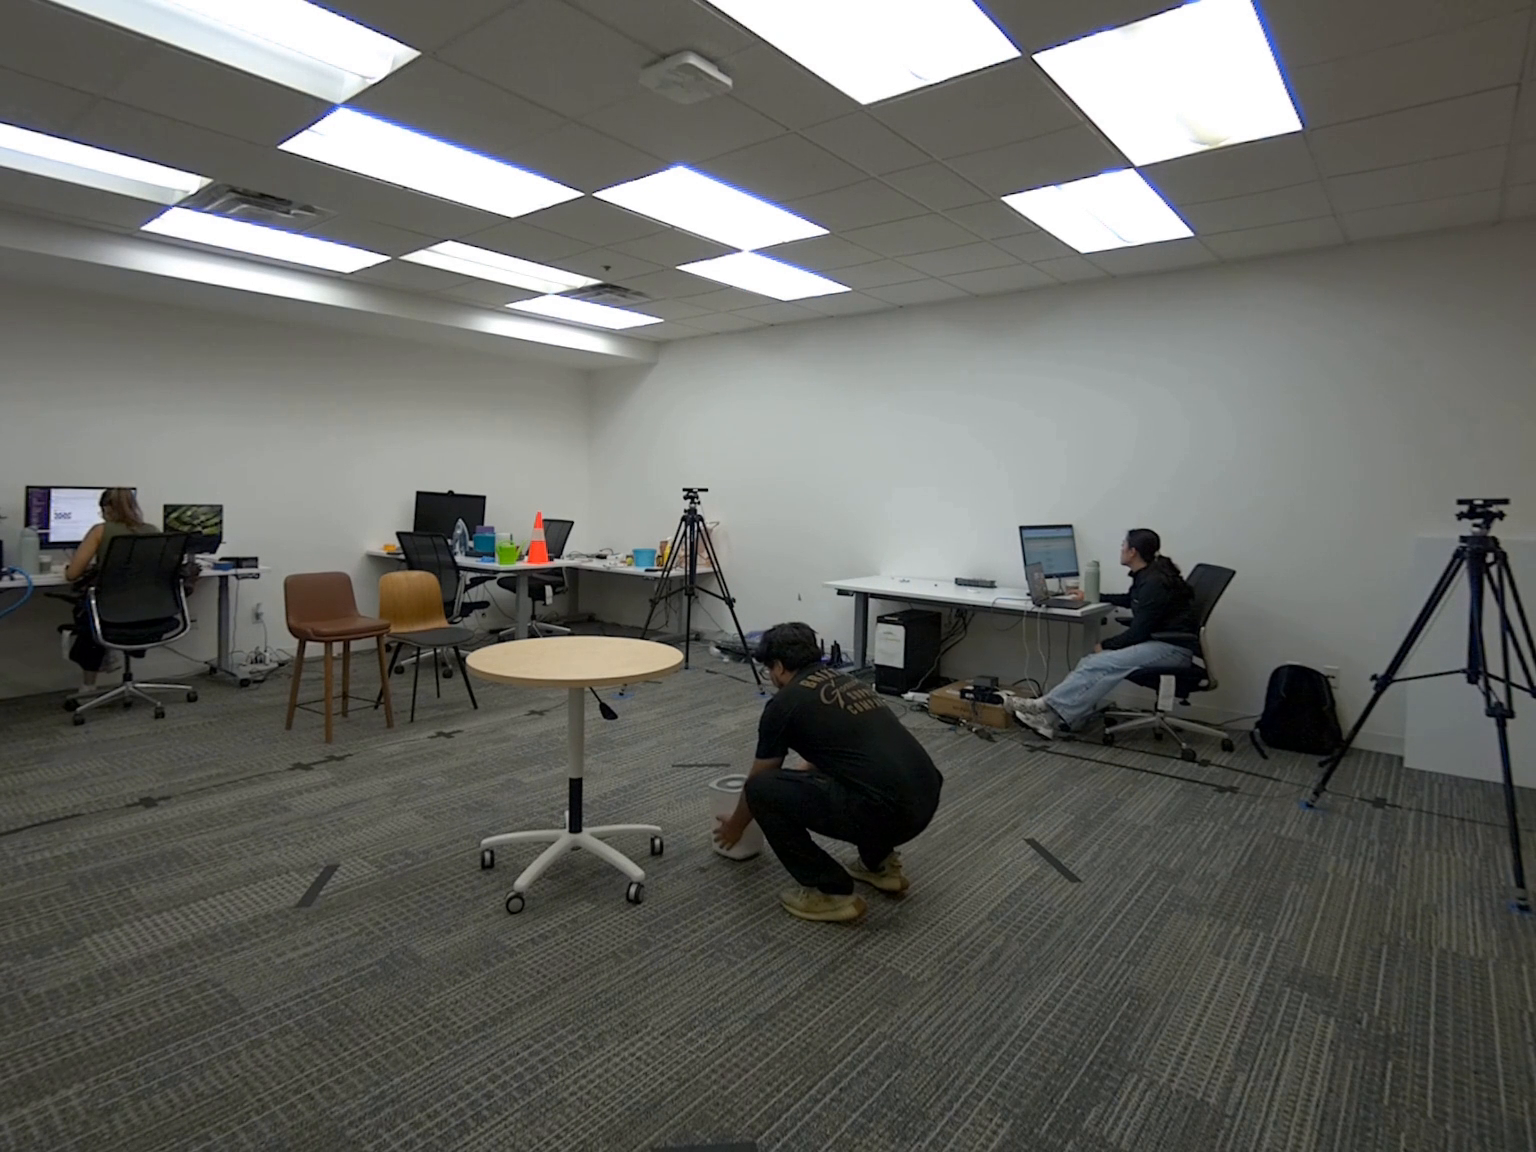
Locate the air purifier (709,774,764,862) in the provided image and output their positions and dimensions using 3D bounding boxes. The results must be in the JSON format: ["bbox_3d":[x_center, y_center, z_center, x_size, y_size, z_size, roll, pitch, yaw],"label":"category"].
[{"bbox_3d":[-0.135,0.920,3.291,0.177,0.264,0.167,2,8,44],"label":"air purifier"}]
